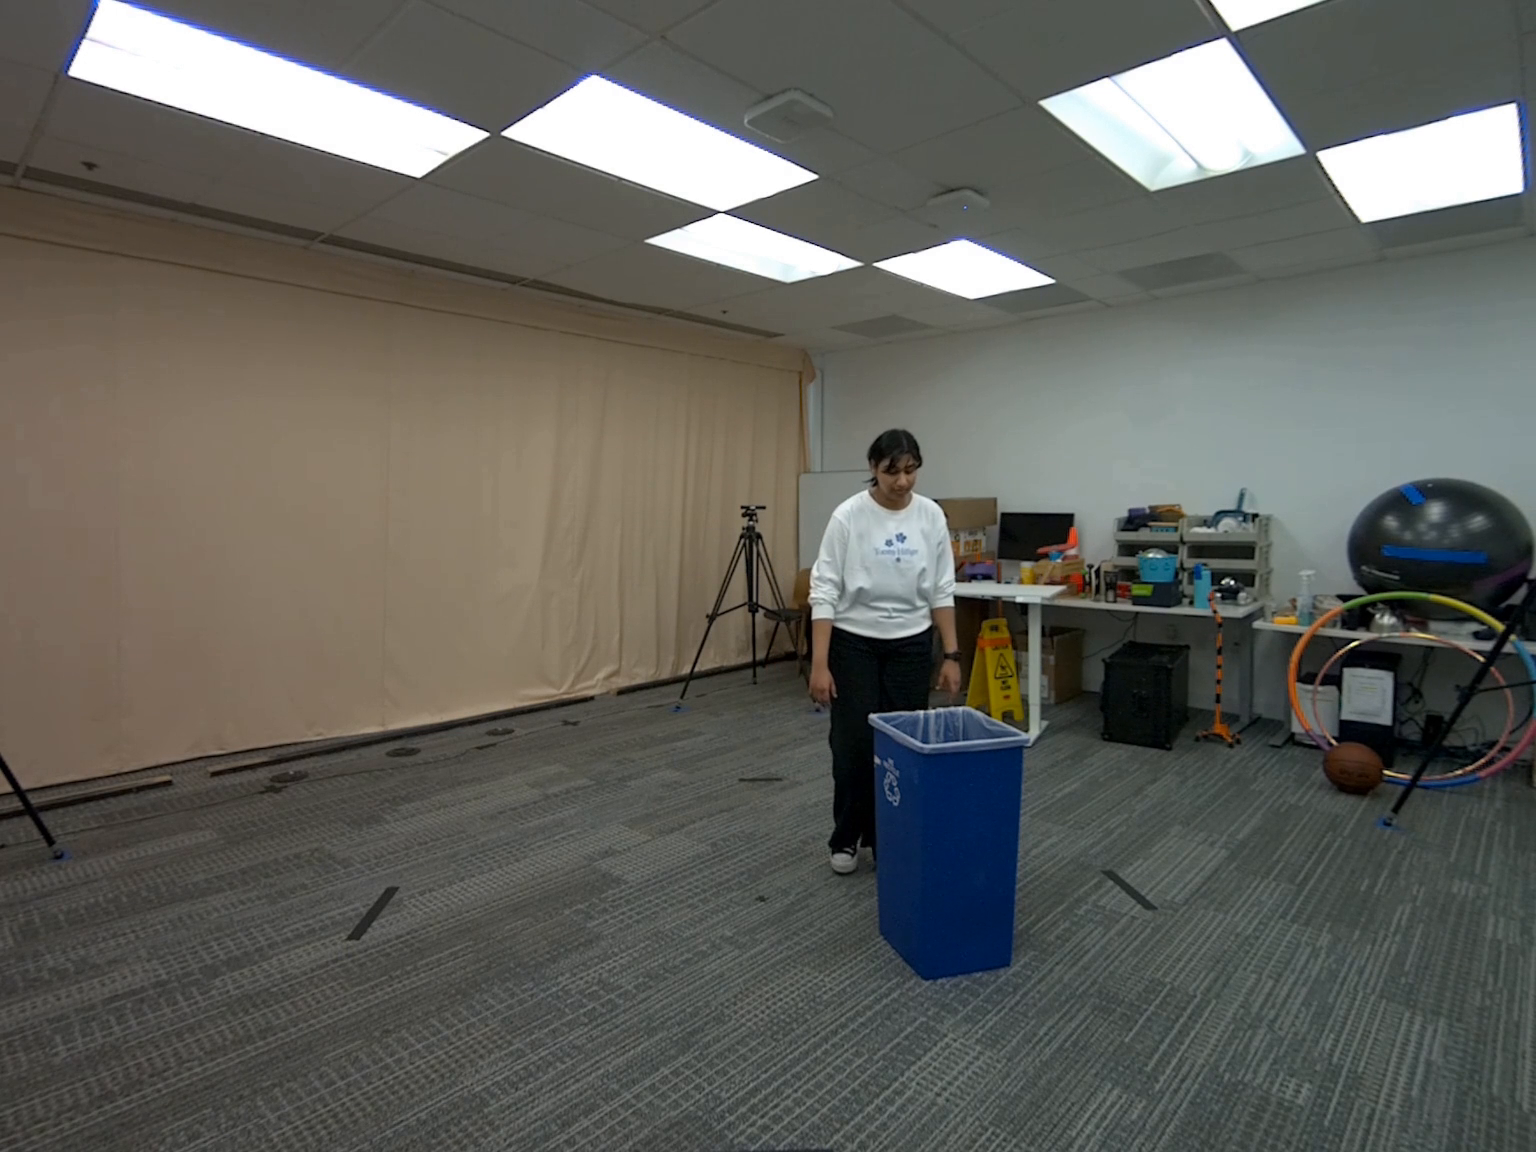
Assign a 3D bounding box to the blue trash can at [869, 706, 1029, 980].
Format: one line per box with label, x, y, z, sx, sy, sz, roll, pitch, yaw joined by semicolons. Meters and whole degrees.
blue trash can;0.552;0.811;2.624;0.372;0.712;0.381;-1;4;-17
